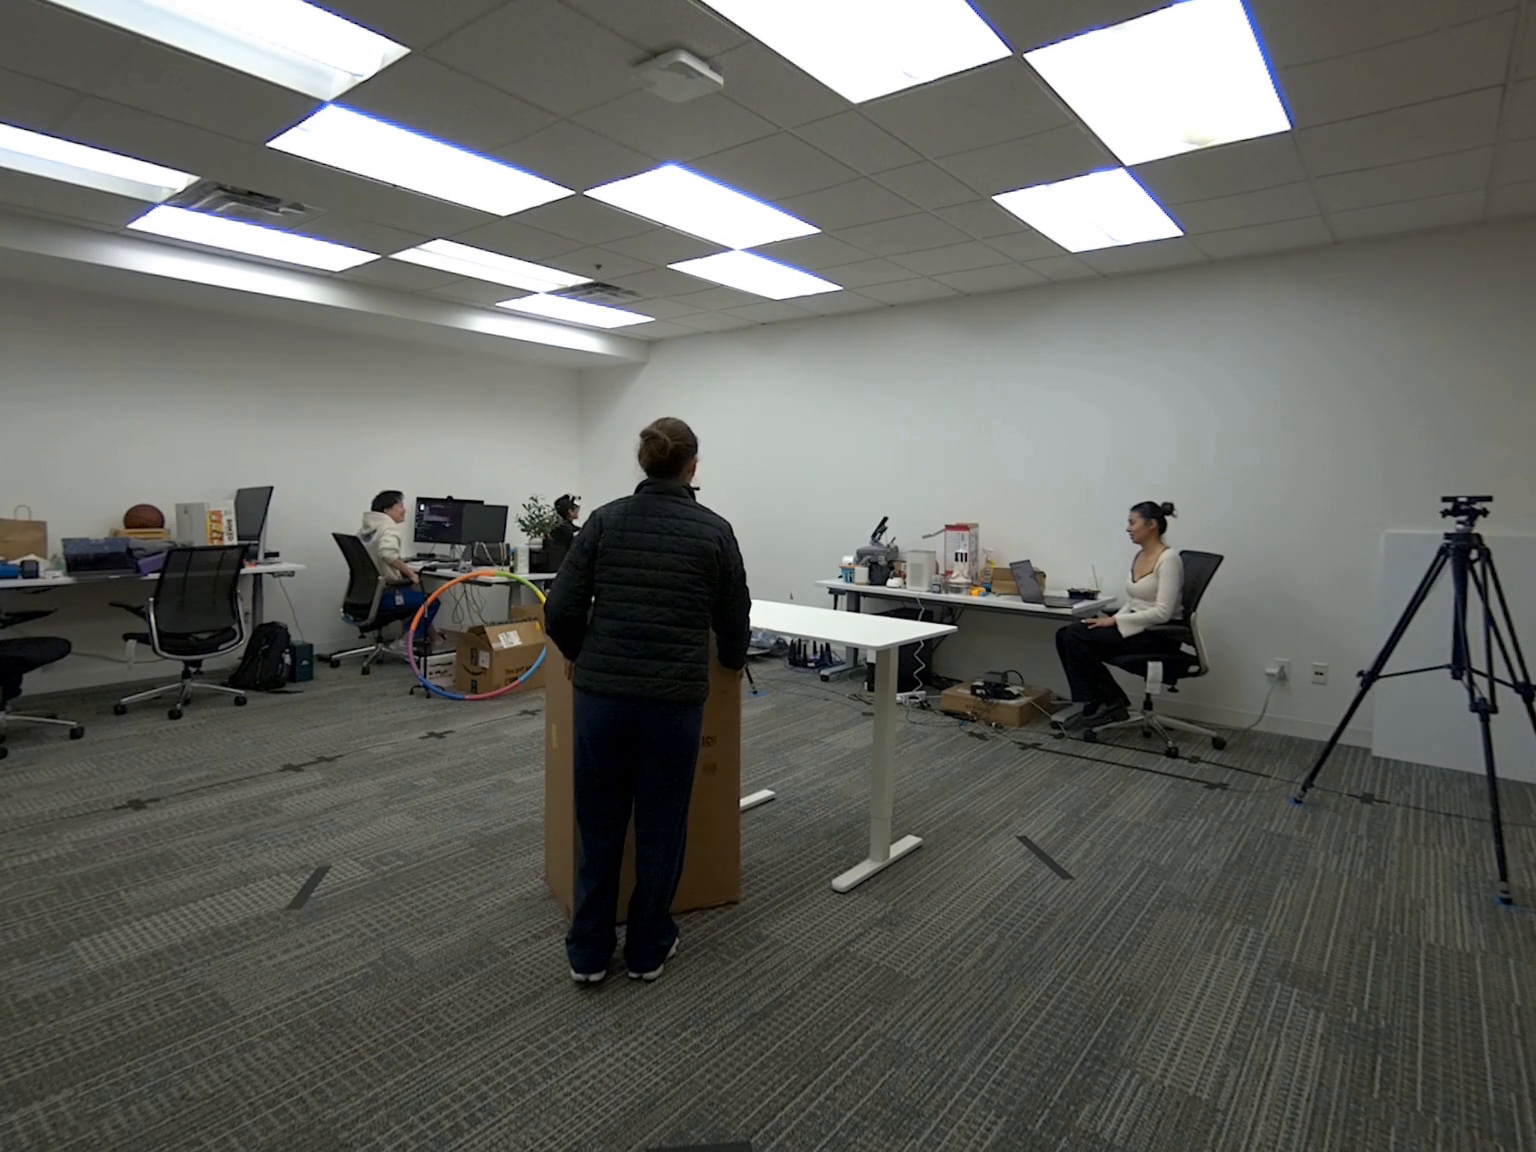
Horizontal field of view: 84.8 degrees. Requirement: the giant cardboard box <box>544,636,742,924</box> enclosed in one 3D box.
[{"bbox_3d":[-0.423,0.567,2.941,0.564,1.025,0.437,0,1,-24],"label":"giant cardboard box"}]
